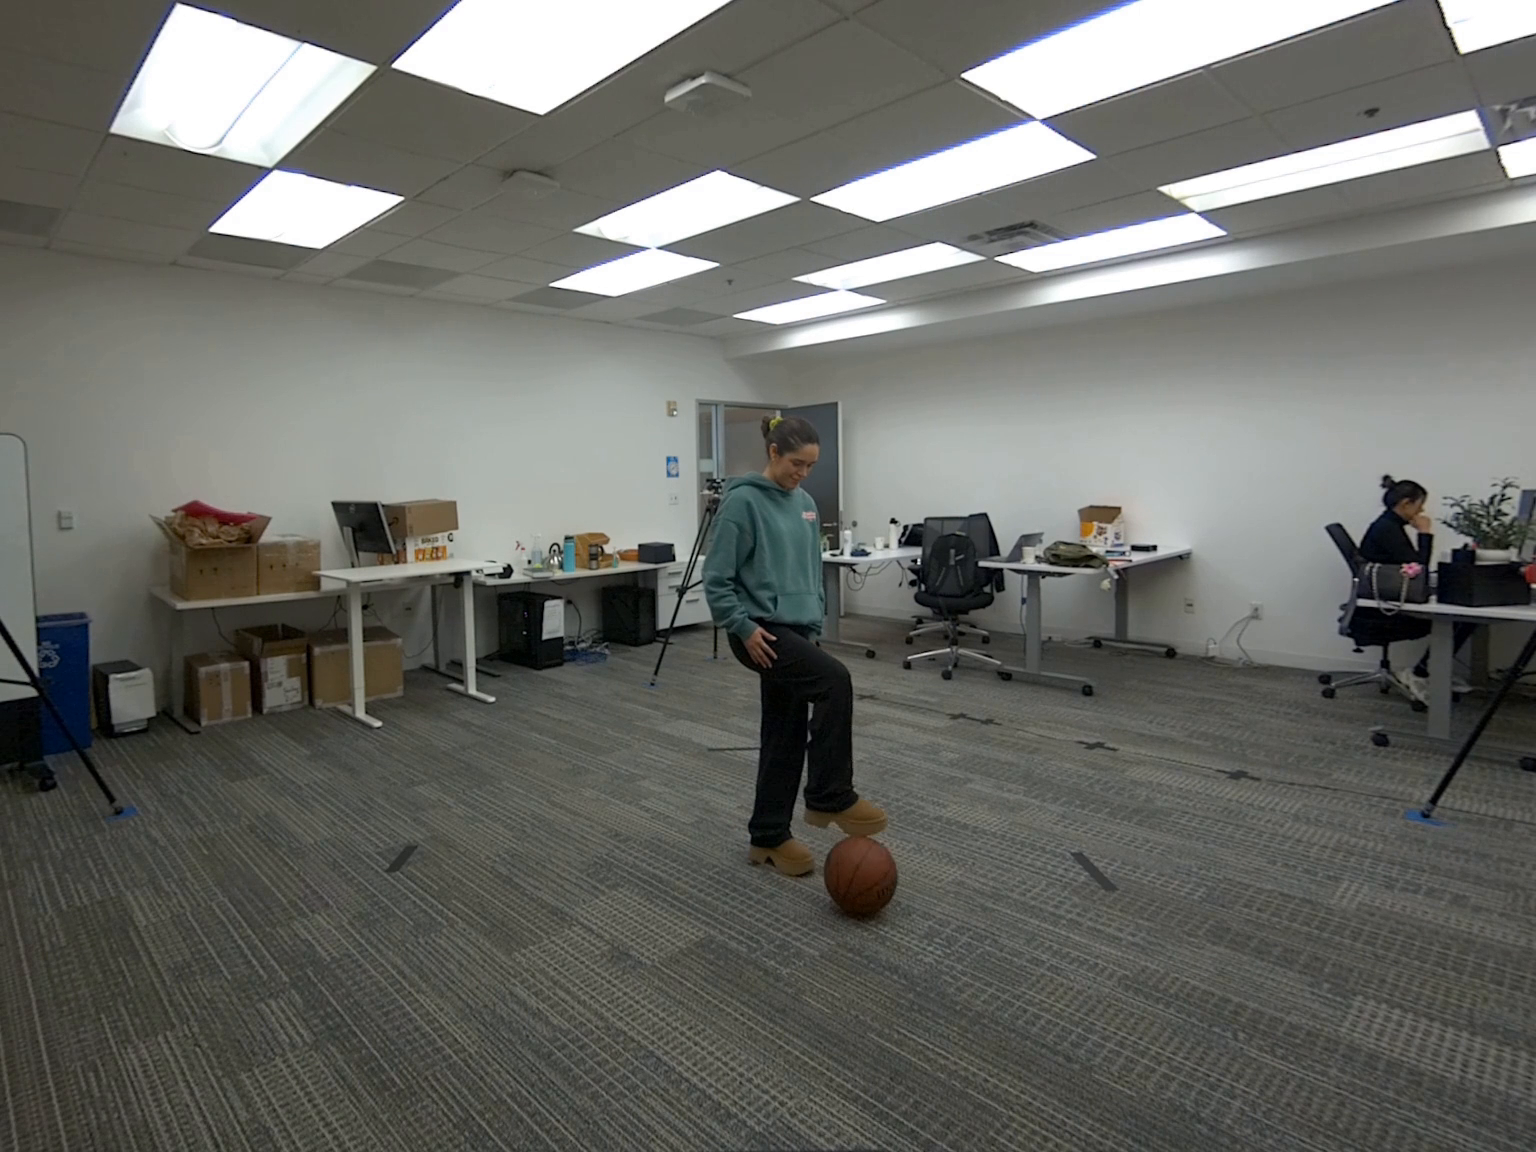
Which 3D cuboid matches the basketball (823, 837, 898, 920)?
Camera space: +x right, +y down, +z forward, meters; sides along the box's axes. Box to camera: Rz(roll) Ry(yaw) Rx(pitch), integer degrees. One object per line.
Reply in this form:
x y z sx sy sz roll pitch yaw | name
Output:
0.296 0.960 2.747 0.236 0.235 0.237 -1 5 -2 | basketball
